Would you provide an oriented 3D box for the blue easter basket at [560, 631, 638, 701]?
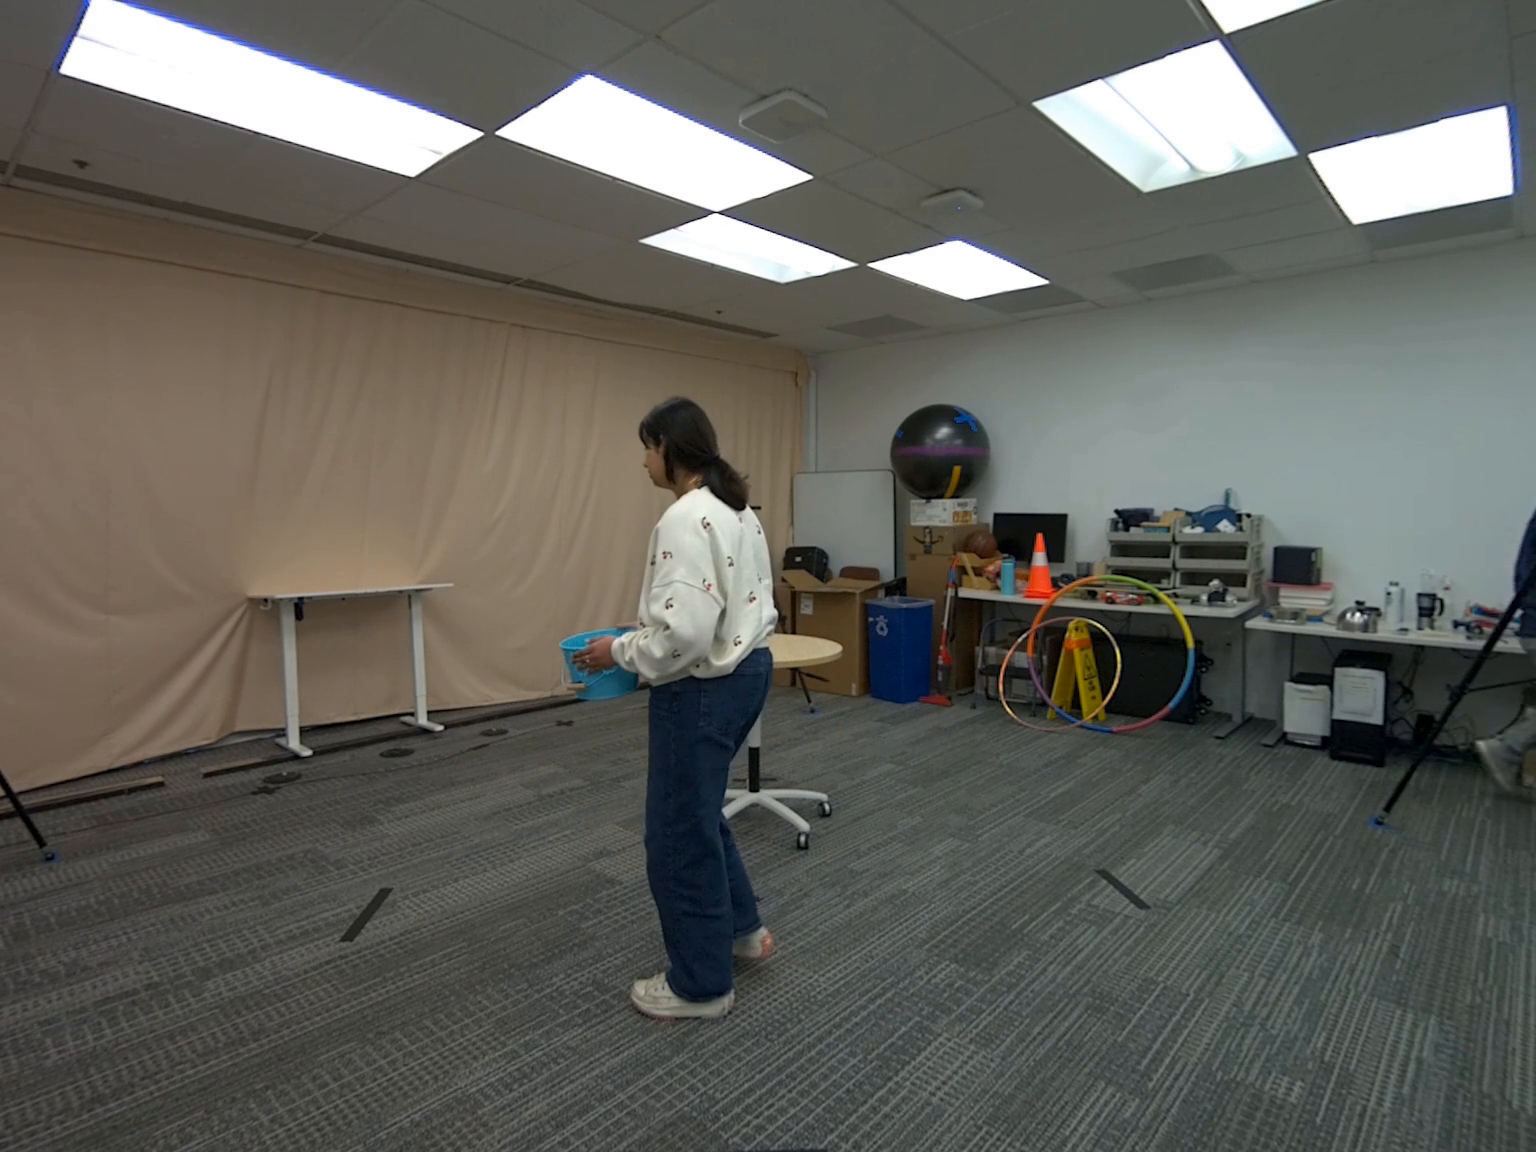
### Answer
[{"bbox_3d":[-0.470,0.250,2.378,0.243,0.155,0.245,-6,6,-1],"label":"blue easter basket"}]
